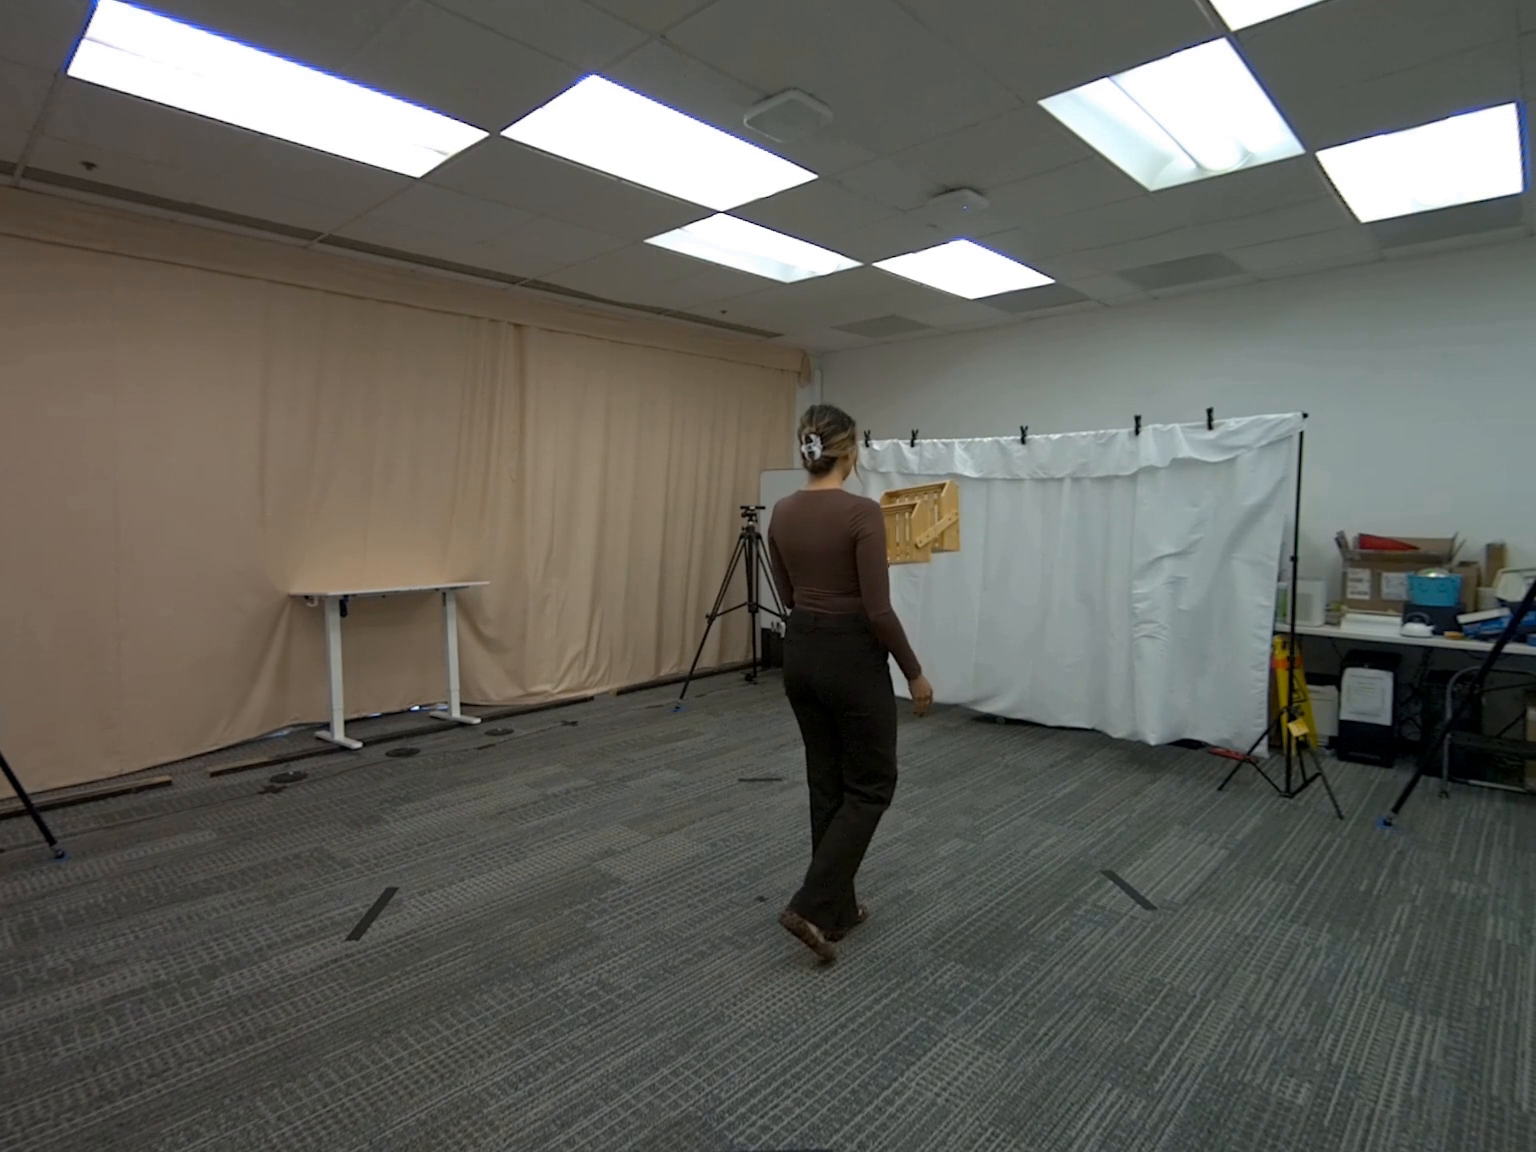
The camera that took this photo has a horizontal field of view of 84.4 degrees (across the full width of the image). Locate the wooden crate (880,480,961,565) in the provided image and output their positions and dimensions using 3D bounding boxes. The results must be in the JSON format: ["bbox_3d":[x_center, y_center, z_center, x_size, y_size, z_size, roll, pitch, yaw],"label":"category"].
[{"bbox_3d":[0.479,-0.185,2.997,0.264,0.303,0.334,4,-7,-41],"label":"wooden crate"}]
